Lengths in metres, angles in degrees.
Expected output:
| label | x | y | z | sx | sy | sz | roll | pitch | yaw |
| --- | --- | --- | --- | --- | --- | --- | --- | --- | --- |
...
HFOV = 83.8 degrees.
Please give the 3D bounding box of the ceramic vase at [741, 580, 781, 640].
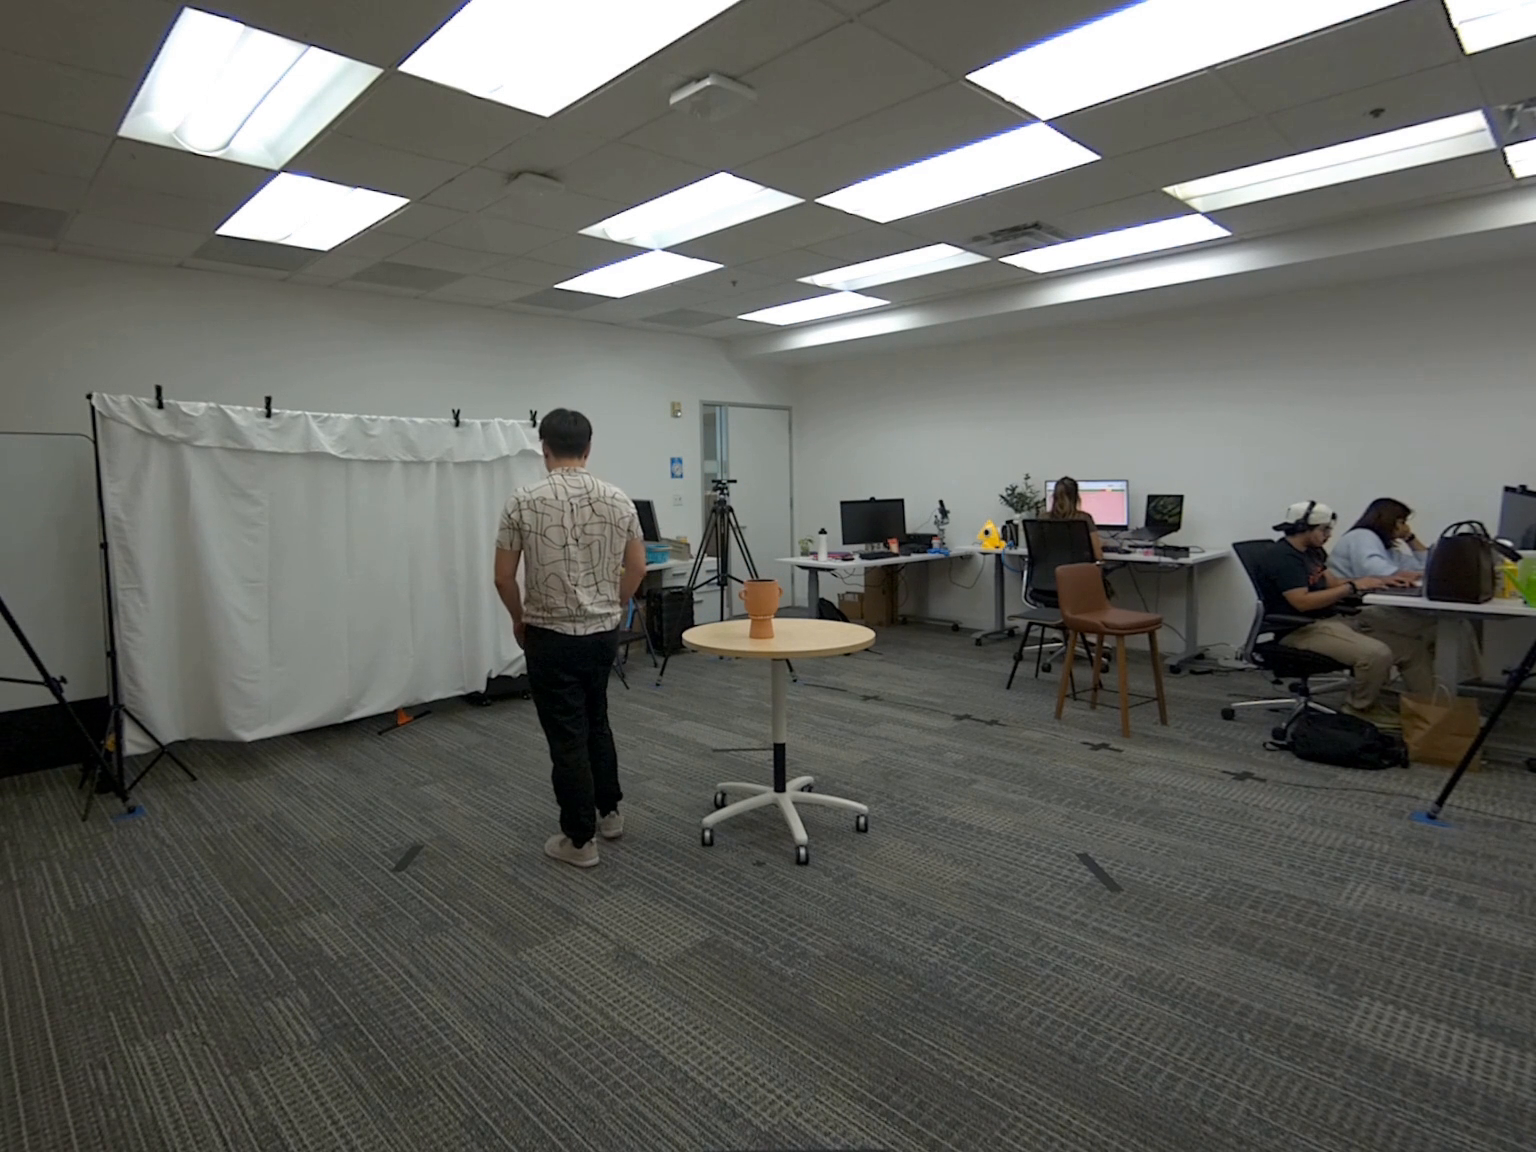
| label | x | y | z | sx | sy | sz | roll | pitch | yaw |
| --- | --- | --- | --- | --- | --- | --- | --- | --- | --- |
| ceramic vase | -0.030 | 0.130 | 3.329 | 0.160 | 0.219 | 0.134 | -1 | 3 | 10 |
